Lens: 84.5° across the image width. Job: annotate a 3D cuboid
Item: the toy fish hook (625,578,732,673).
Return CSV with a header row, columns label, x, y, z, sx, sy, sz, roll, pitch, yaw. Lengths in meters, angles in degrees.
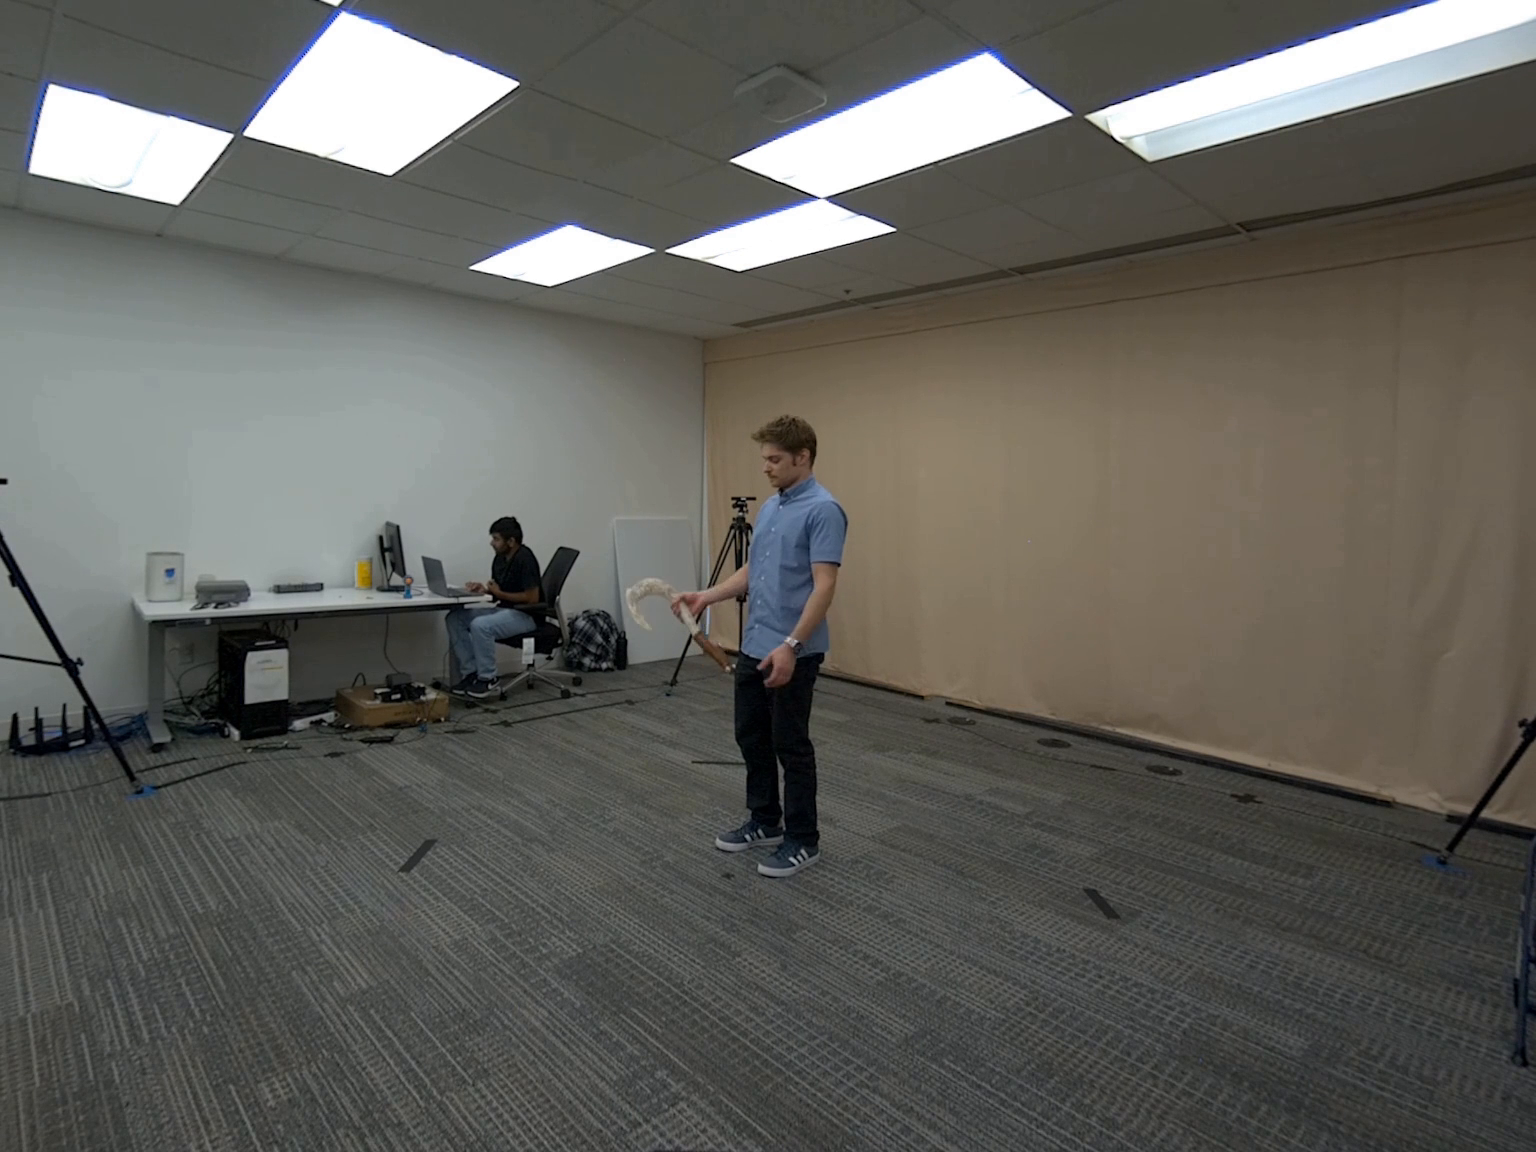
label,x,y,z,sx,sy,sz,roll,pitch,yaw
toy fish hook,-0.321,0.186,3.154,0.223,0.516,0.048,-34,-21,-32
